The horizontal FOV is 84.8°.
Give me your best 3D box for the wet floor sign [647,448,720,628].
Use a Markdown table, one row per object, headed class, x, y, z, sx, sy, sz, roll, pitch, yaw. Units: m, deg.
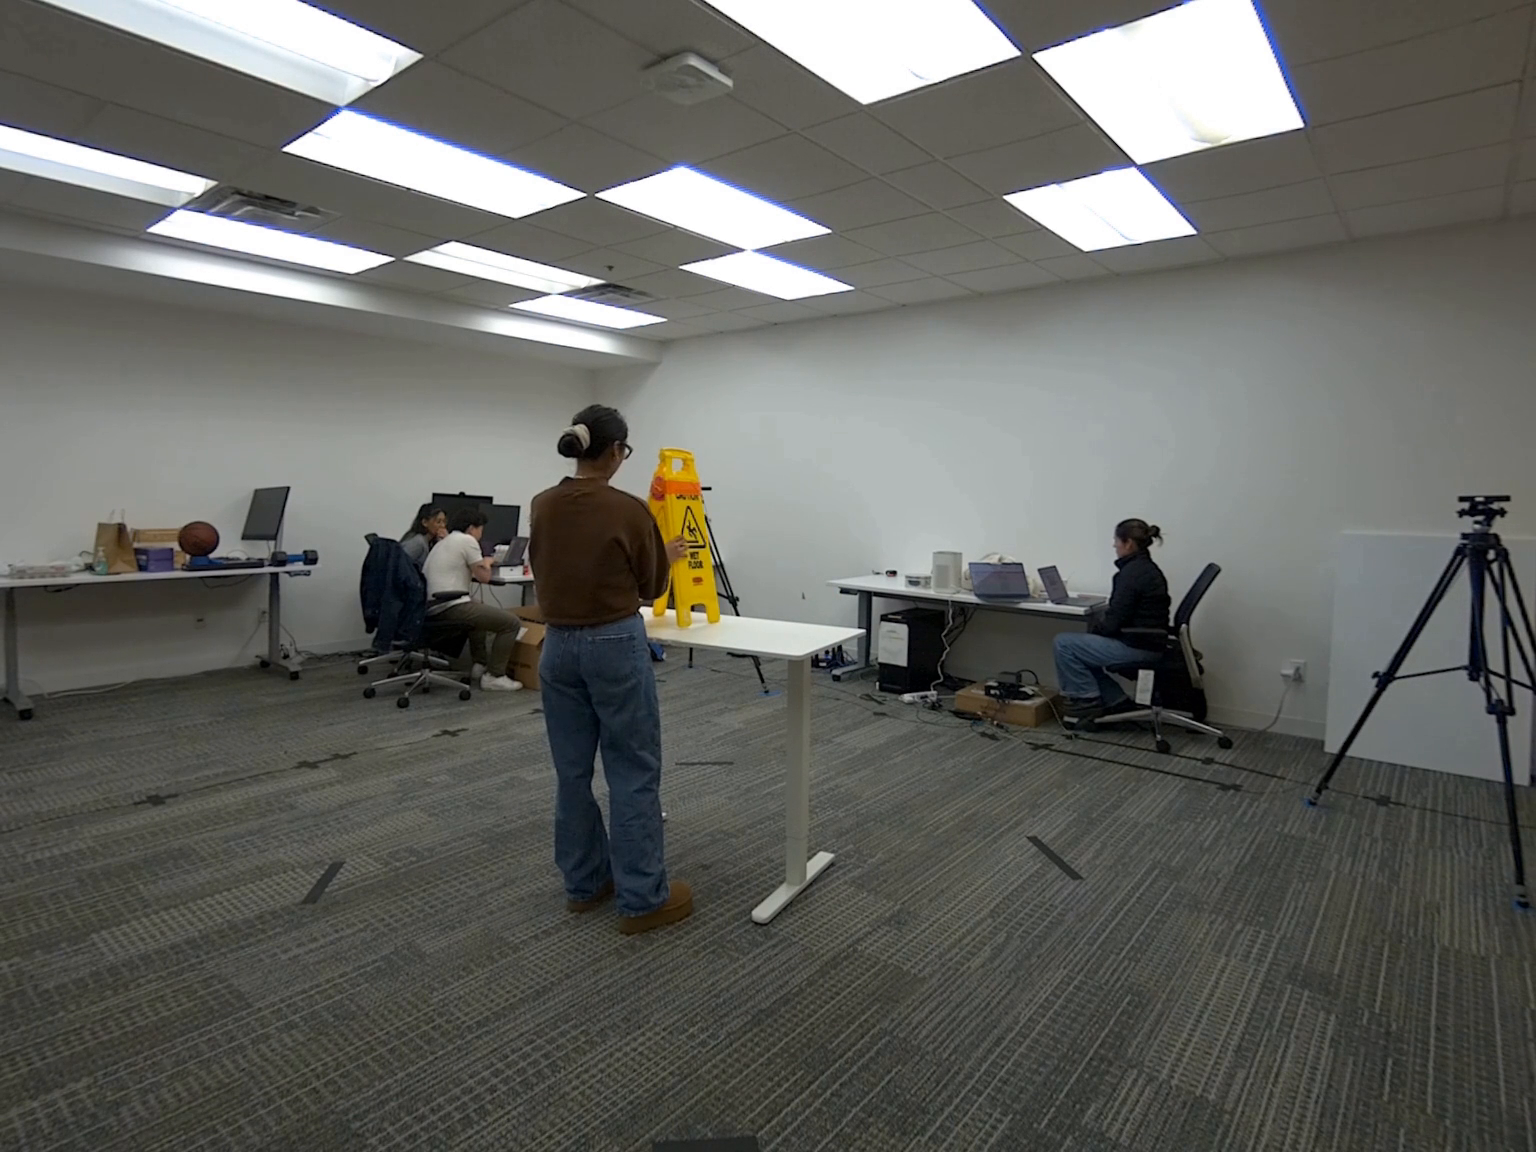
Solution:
| class | x | y | z | sx | sy | sz | roll | pitch | yaw |
| --- | --- | --- | --- | --- | --- | --- | --- | --- | --- |
| wet floor sign | -0.366 | -0.155 | 3.205 | 0.298 | 0.645 | 0.274 | 2 | 1 | 29 |
